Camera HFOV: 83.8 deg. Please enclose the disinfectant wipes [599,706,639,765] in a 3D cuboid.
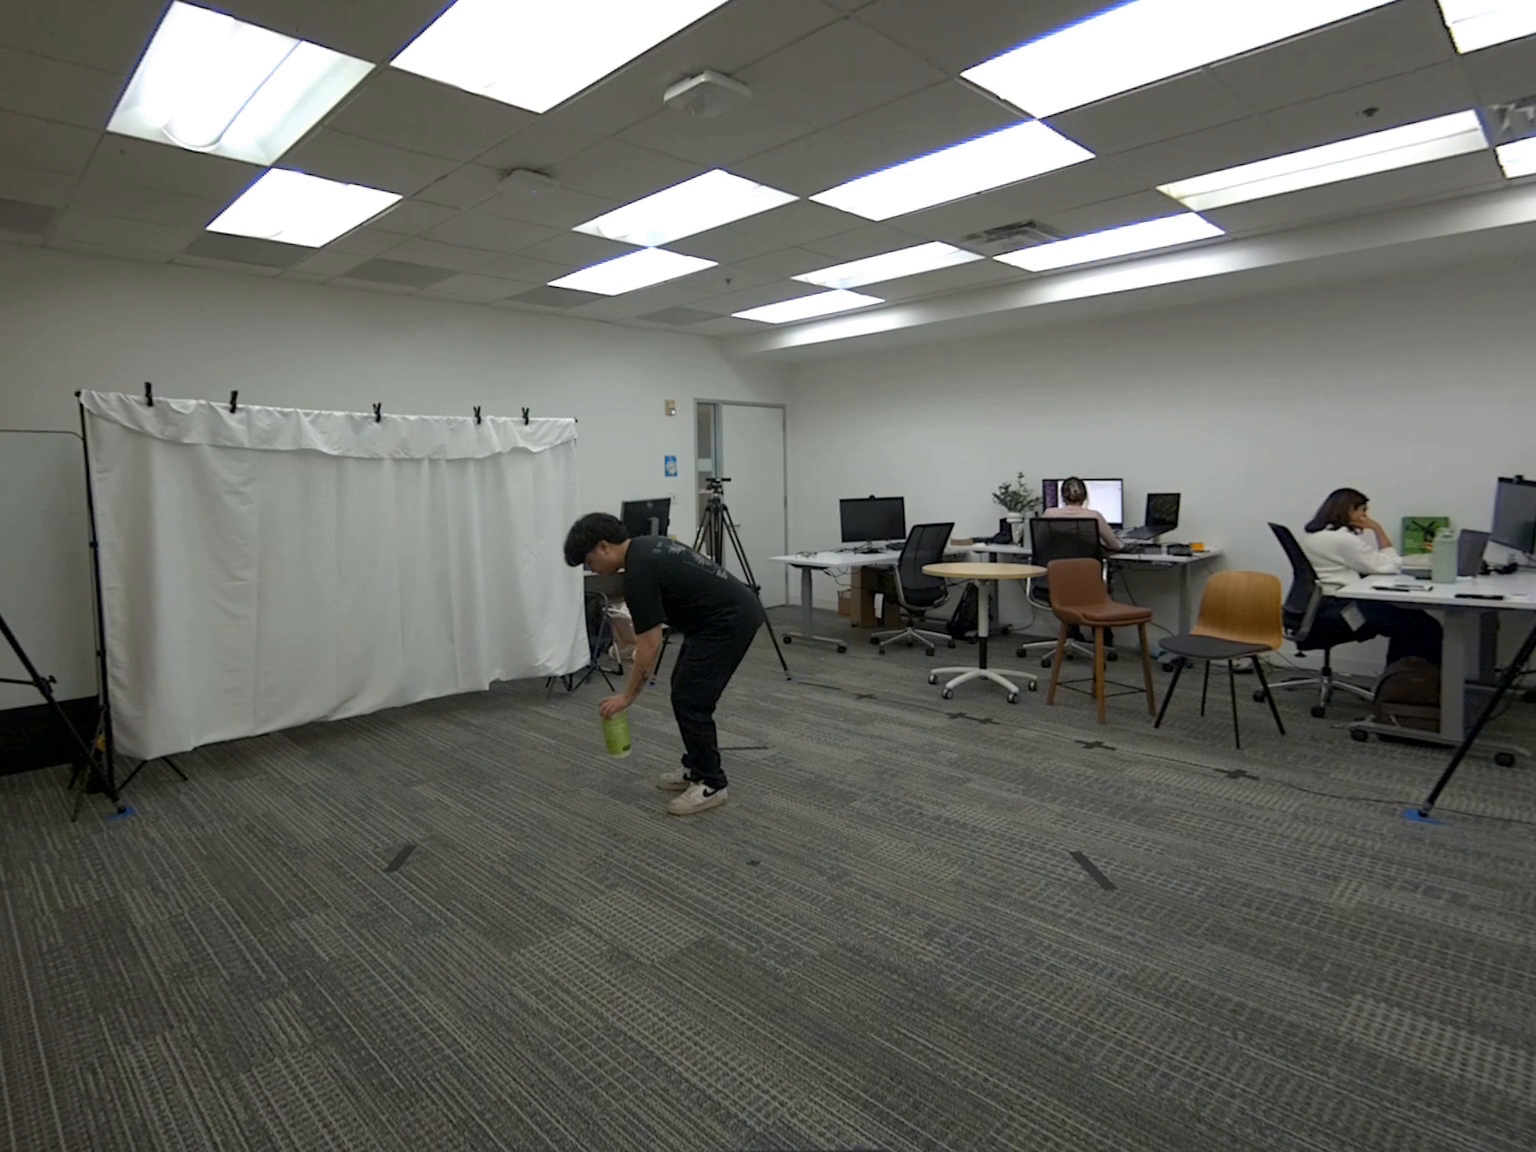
[{"bbox_3d":[-0.644,0.674,3.693,0.118,0.216,0.118,-10,7,0],"label":"disinfectant wipes"}]
